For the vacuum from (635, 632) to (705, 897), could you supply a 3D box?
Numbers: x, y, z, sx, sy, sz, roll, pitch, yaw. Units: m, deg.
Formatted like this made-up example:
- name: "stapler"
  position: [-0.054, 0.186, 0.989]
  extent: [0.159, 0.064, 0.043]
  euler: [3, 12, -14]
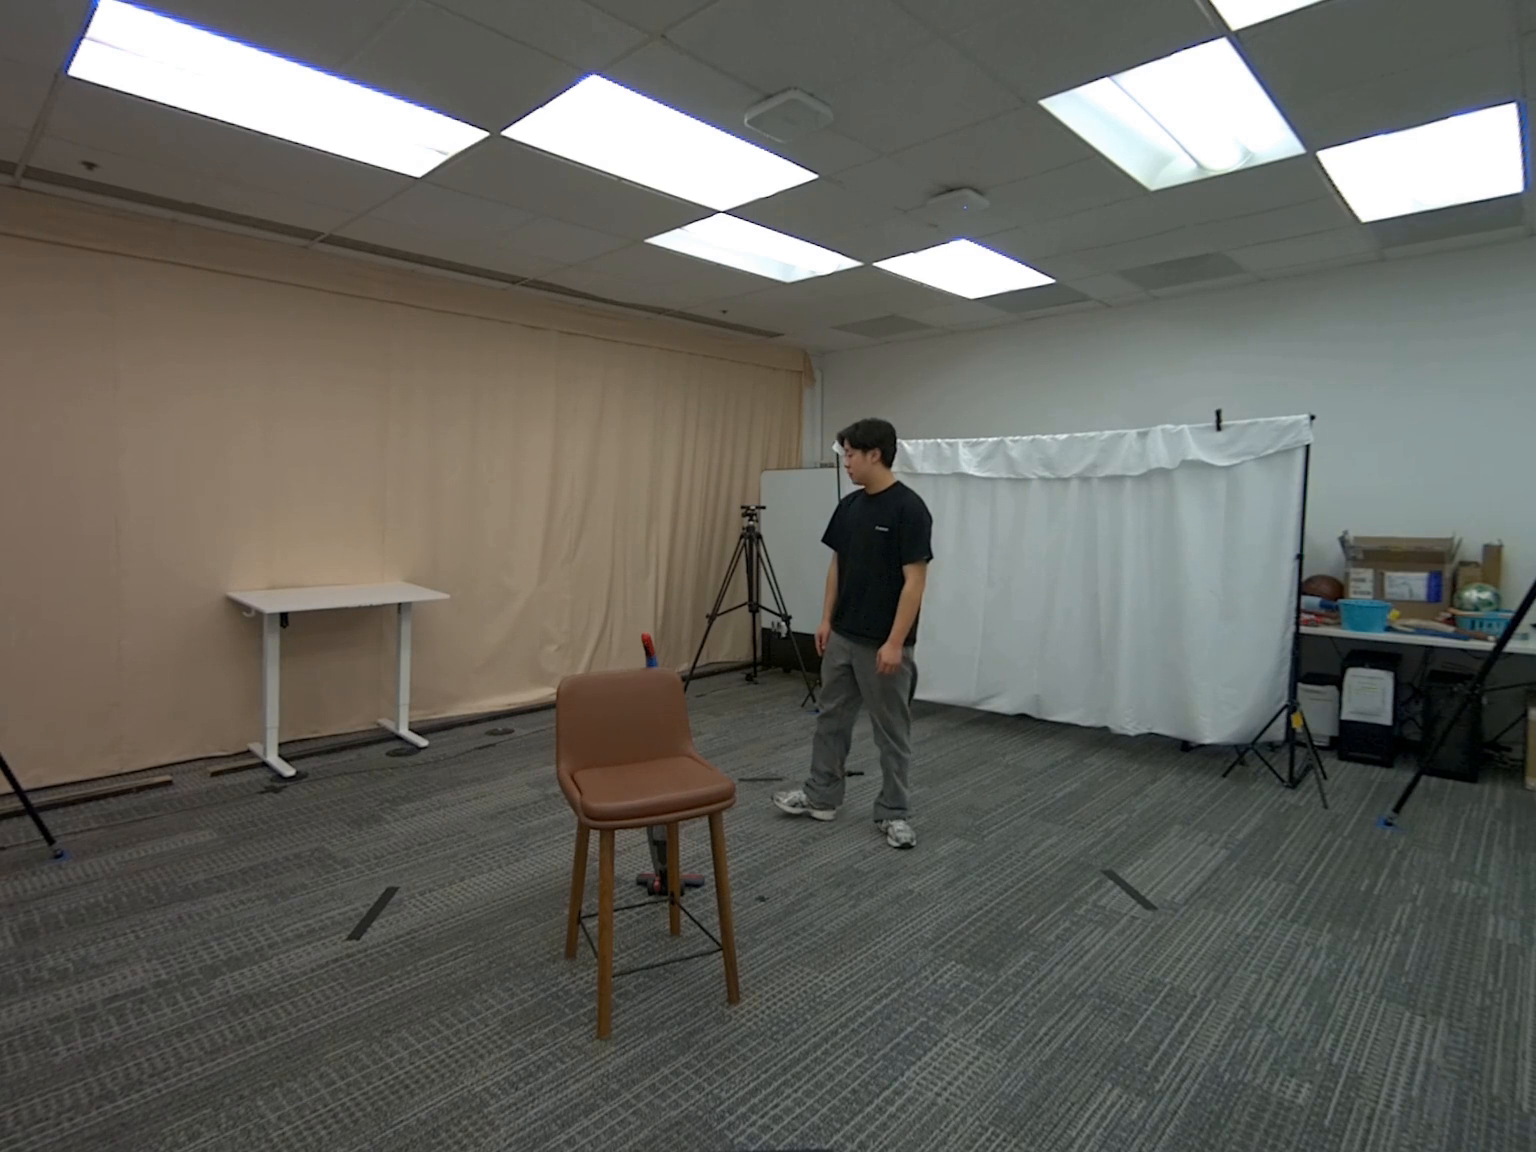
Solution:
- name: "vacuum"
  position: [-0.377, 0.661, 2.864]
  extent: [0.253, 1.034, 0.146]
  euler: [-2, 23, 1]
